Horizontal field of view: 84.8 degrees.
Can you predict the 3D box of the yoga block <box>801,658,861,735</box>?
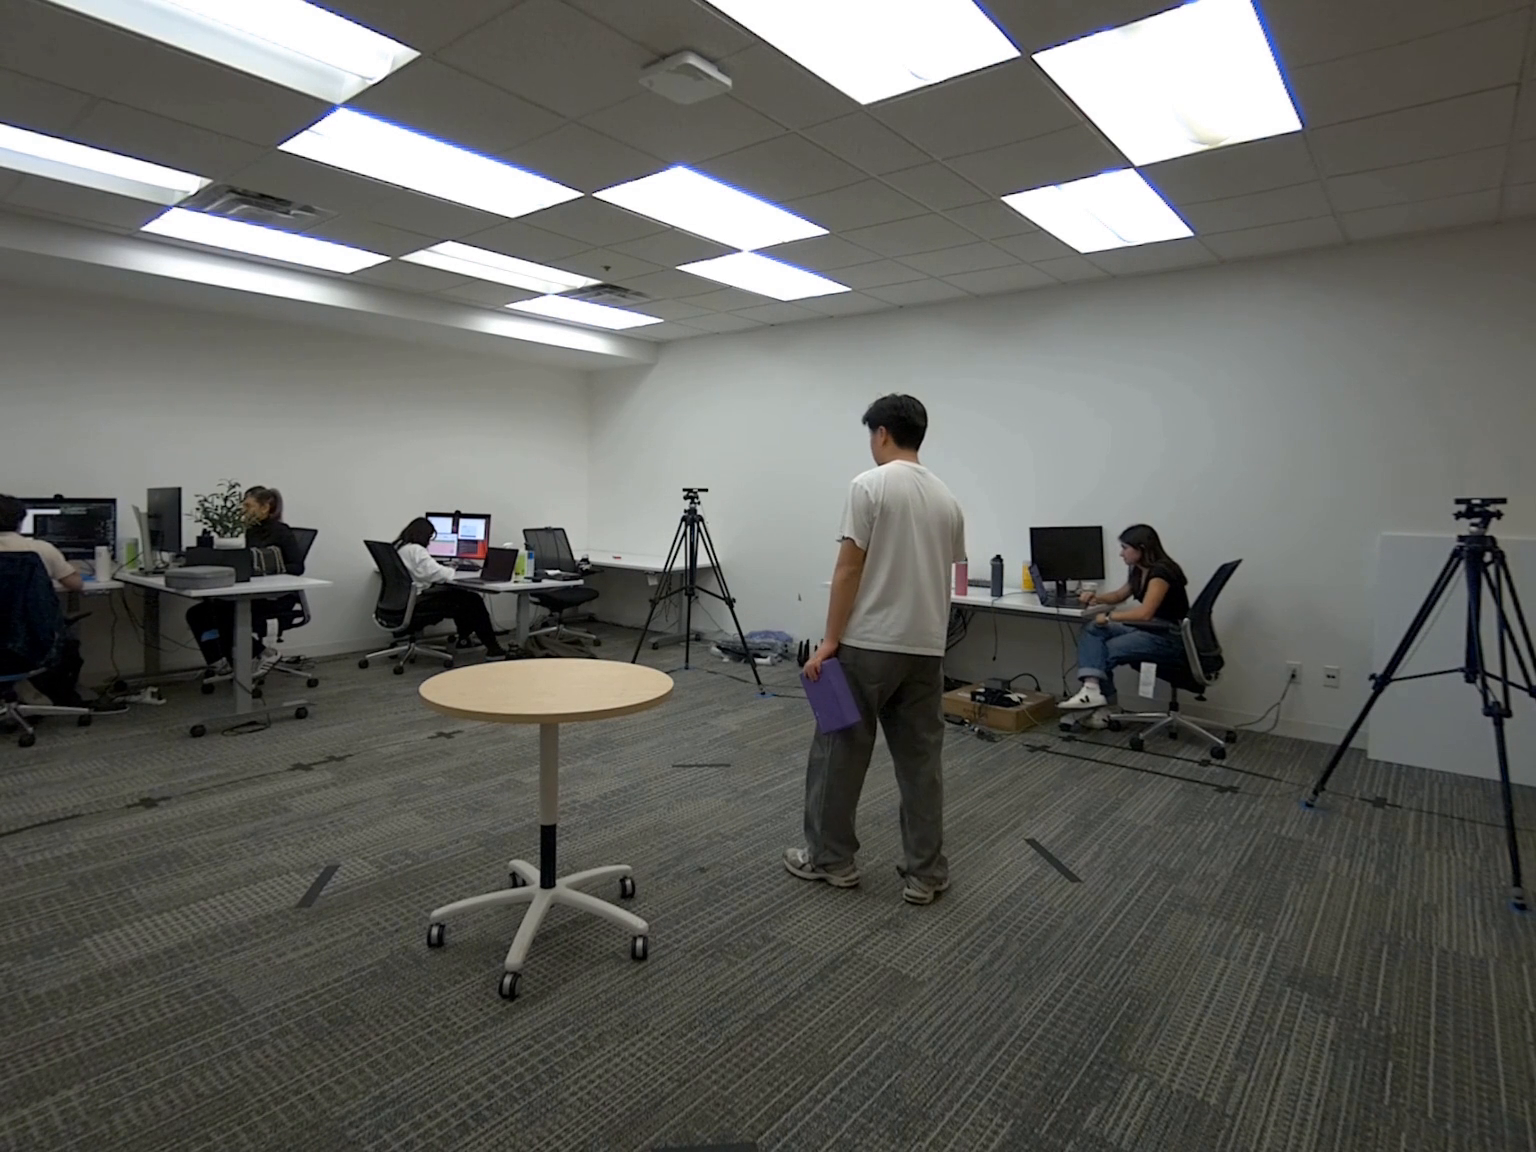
[{"bbox_3d":[0.199,0.405,2.911,0.074,0.232,0.151,-10,-13,-39],"label":"yoga block"}]
